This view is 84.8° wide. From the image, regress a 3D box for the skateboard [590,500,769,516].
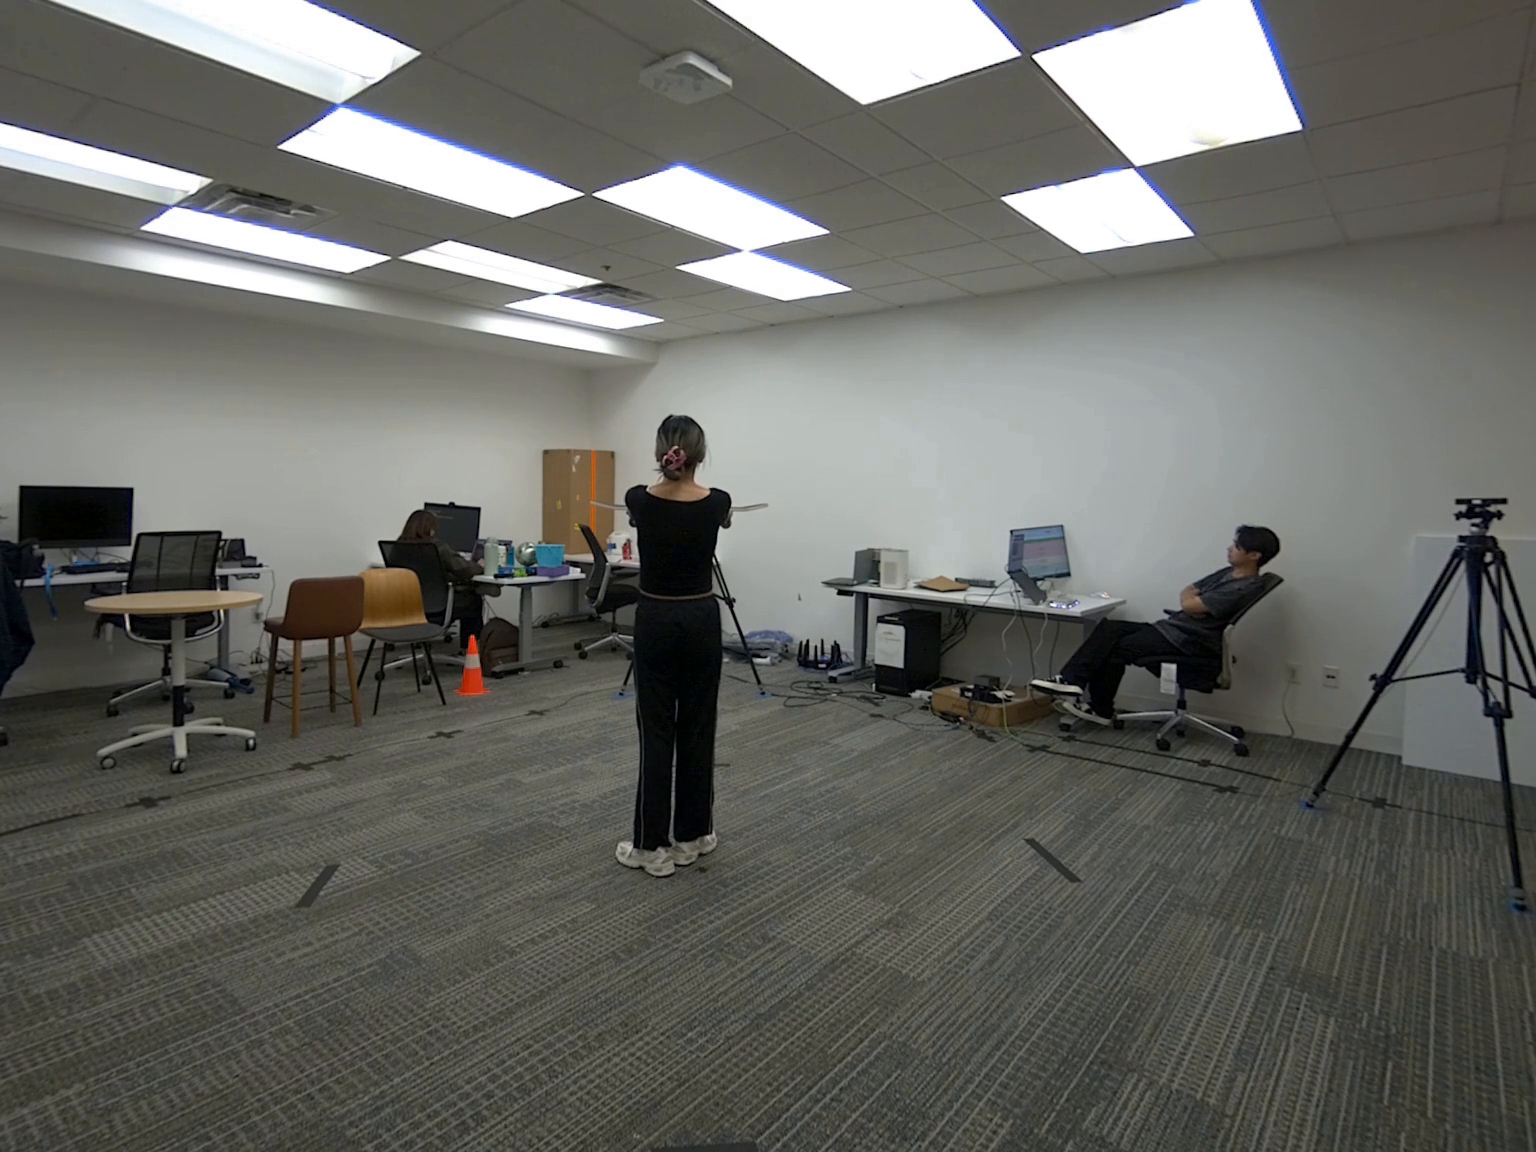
[{"bbox_3d":[-0.402,-0.276,3.774,0.780,0.110,0.196,0,5,-7],"label":"skateboard"}]
